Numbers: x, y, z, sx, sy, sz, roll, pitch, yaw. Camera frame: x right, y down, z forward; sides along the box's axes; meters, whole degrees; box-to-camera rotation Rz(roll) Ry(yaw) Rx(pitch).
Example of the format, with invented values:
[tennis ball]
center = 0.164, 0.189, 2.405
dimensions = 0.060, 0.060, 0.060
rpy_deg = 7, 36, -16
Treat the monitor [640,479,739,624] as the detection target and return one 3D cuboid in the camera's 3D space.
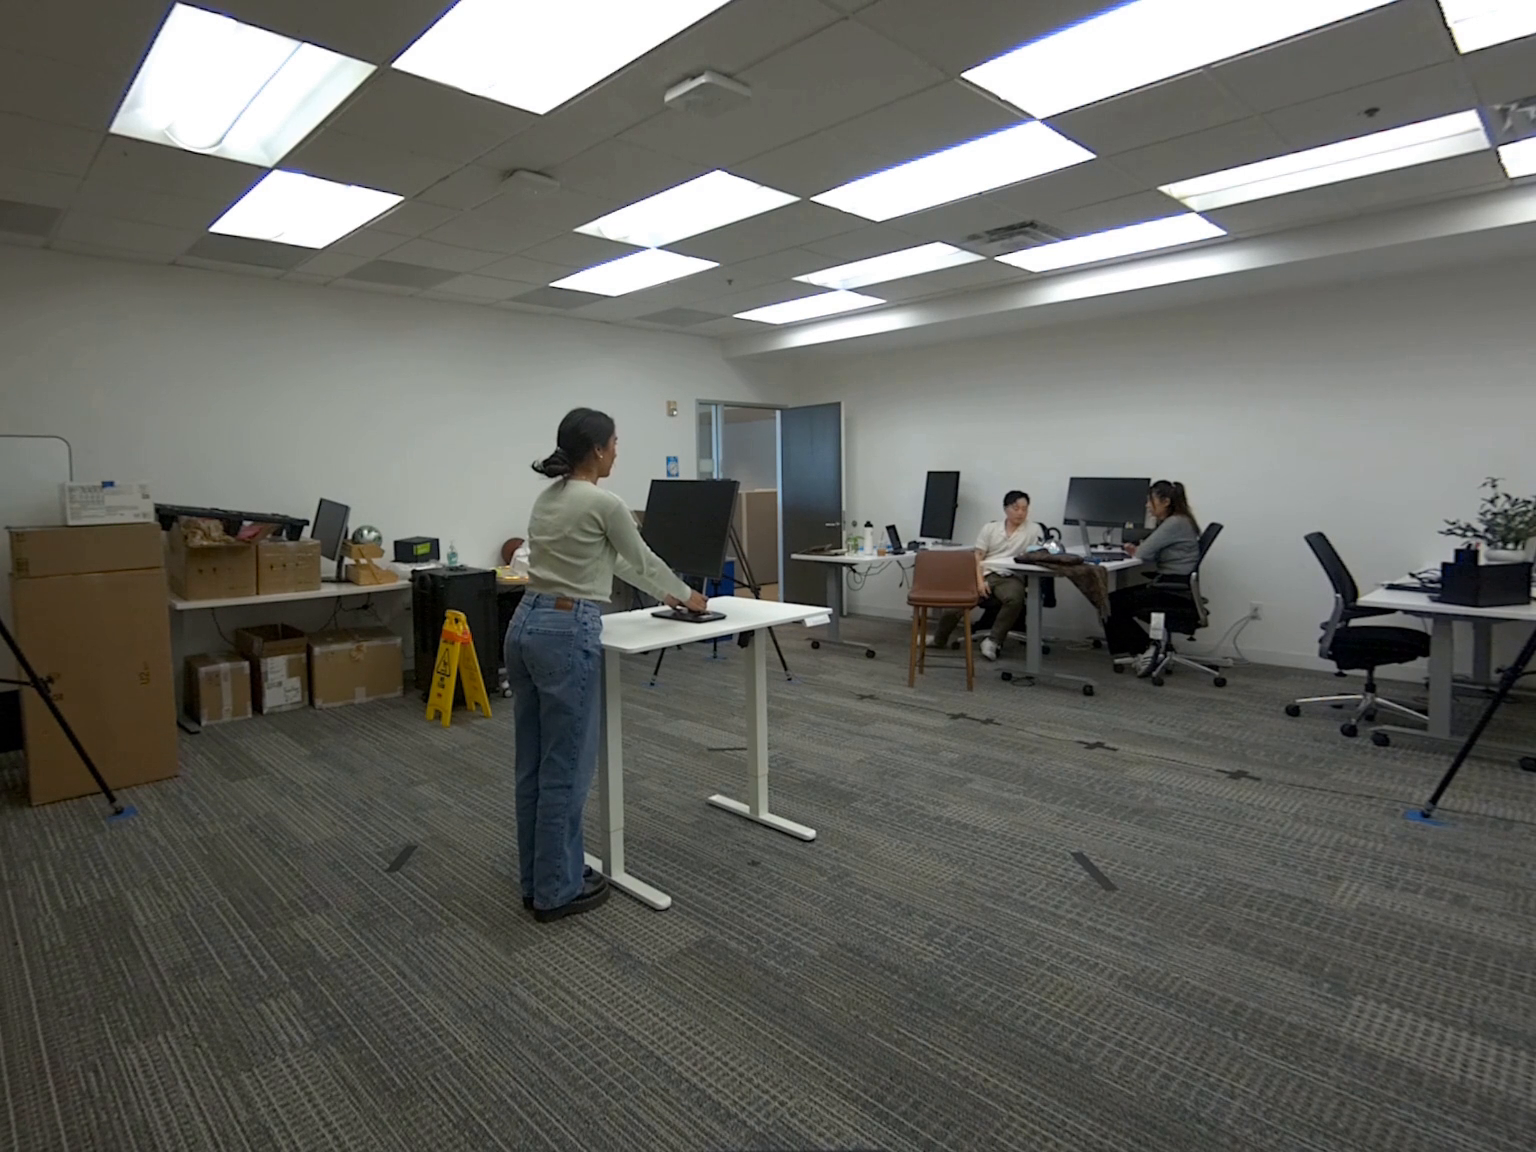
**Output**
[monitor]
center = -0.281, -0.098, 3.199
dimensions = 0.182, 0.521, 0.556
rpy_deg = -3, 6, -42
